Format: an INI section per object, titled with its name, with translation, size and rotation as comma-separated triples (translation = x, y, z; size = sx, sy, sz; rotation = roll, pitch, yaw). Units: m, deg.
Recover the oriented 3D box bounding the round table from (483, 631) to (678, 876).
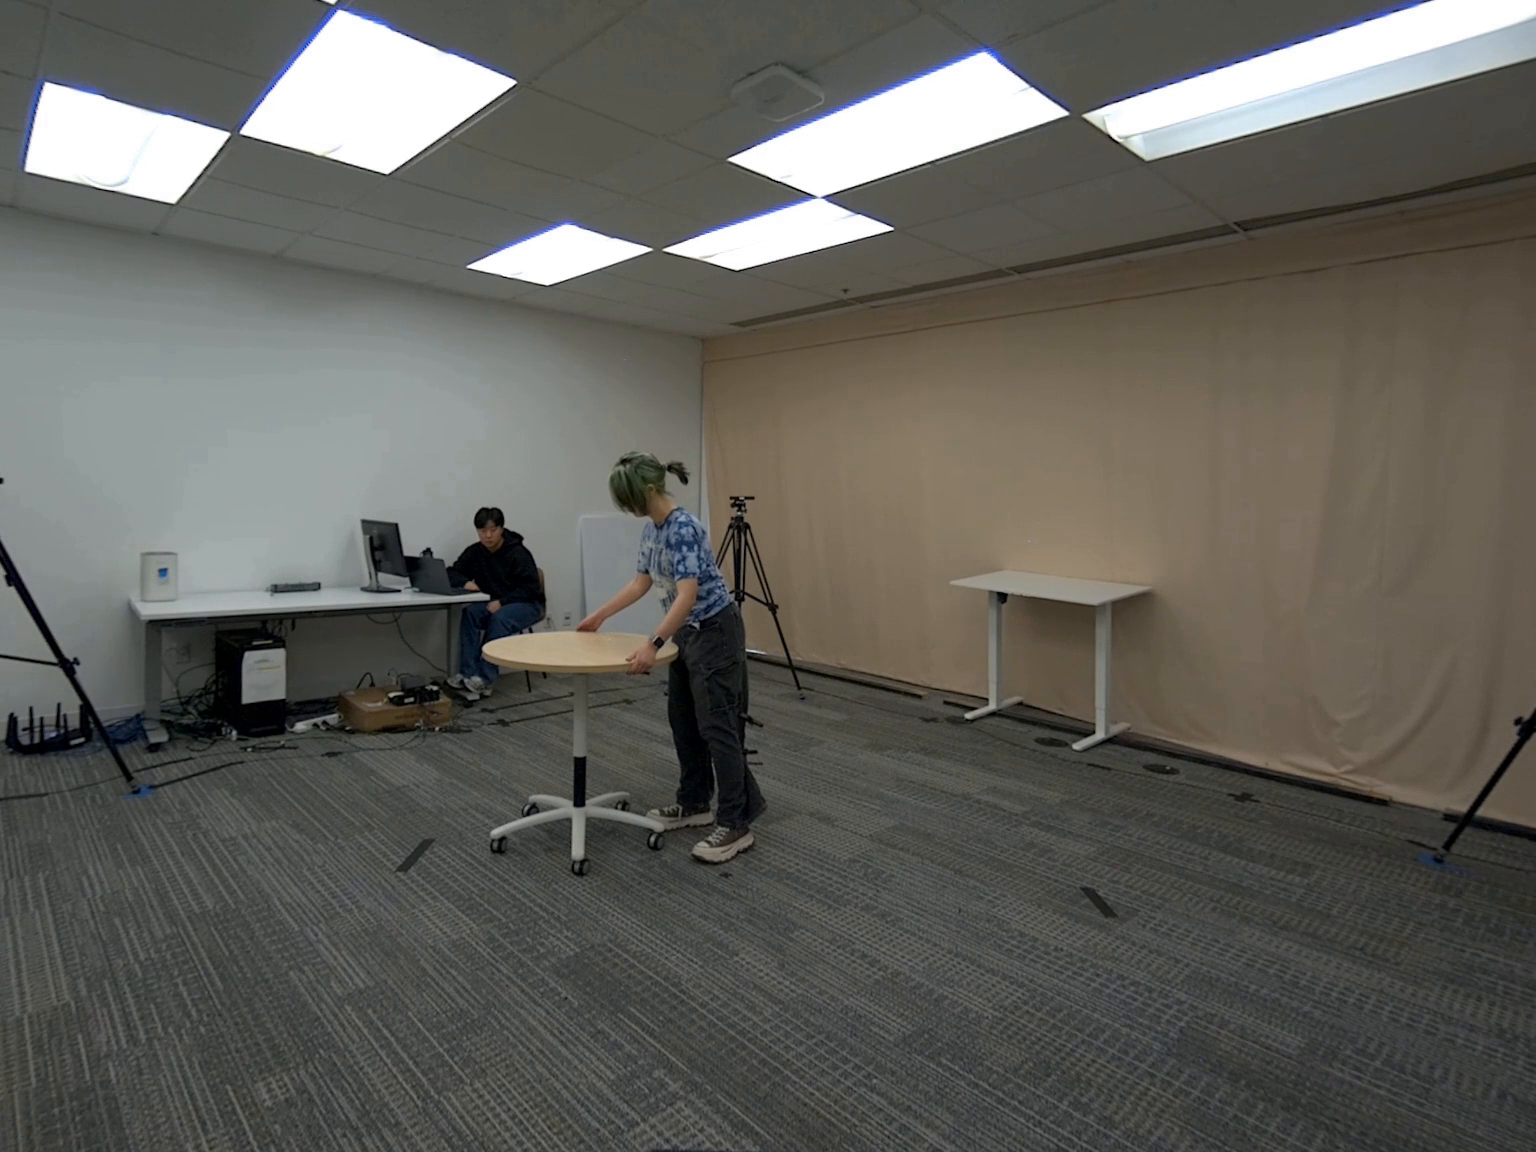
[round table]
translation = -0.757, 0.676, 3.366
size = 0.763, 0.792, 0.766
rotation = 1, 4, -1
